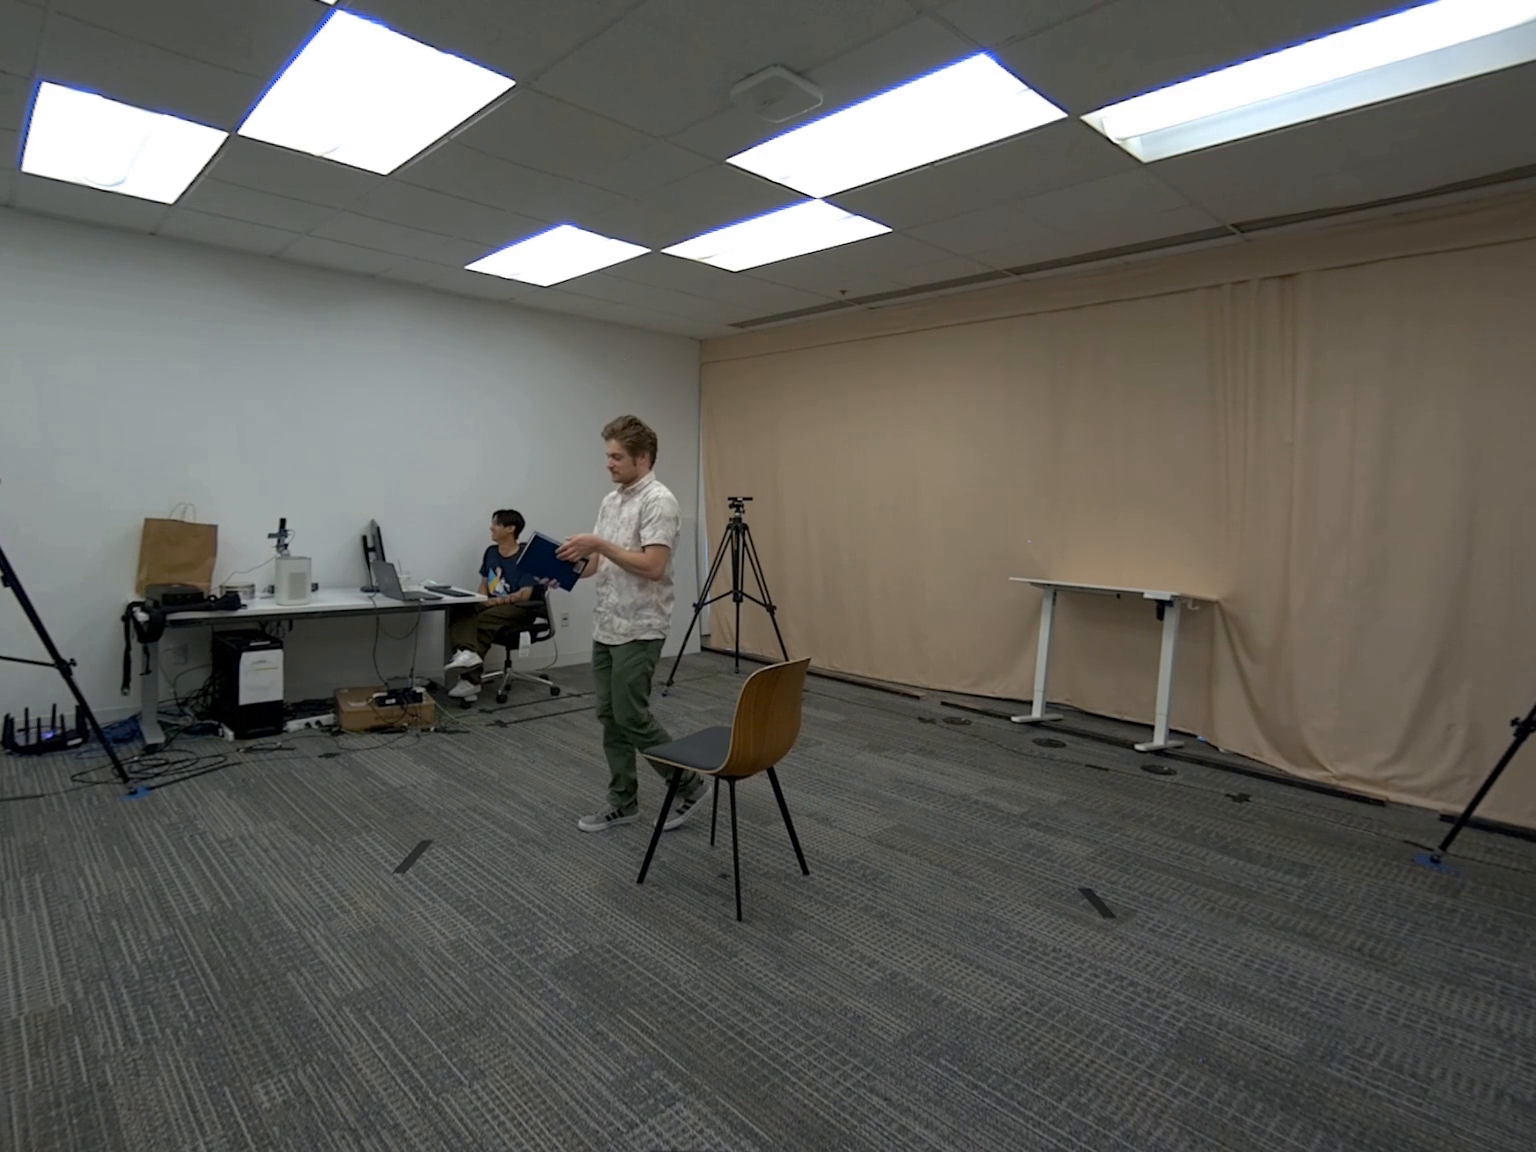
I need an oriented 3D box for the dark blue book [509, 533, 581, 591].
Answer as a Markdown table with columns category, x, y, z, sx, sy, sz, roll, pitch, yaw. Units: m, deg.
| category | x | y | z | sx | sy | sz | roll | pitch | yaw |
| --- | --- | --- | --- | --- | --- | --- | --- | --- | --- |
| dark blue book | -0.867 | -0.057 | 3.350 | 0.240 | 0.163 | 0.046 | 27 | 12 | -20 |
